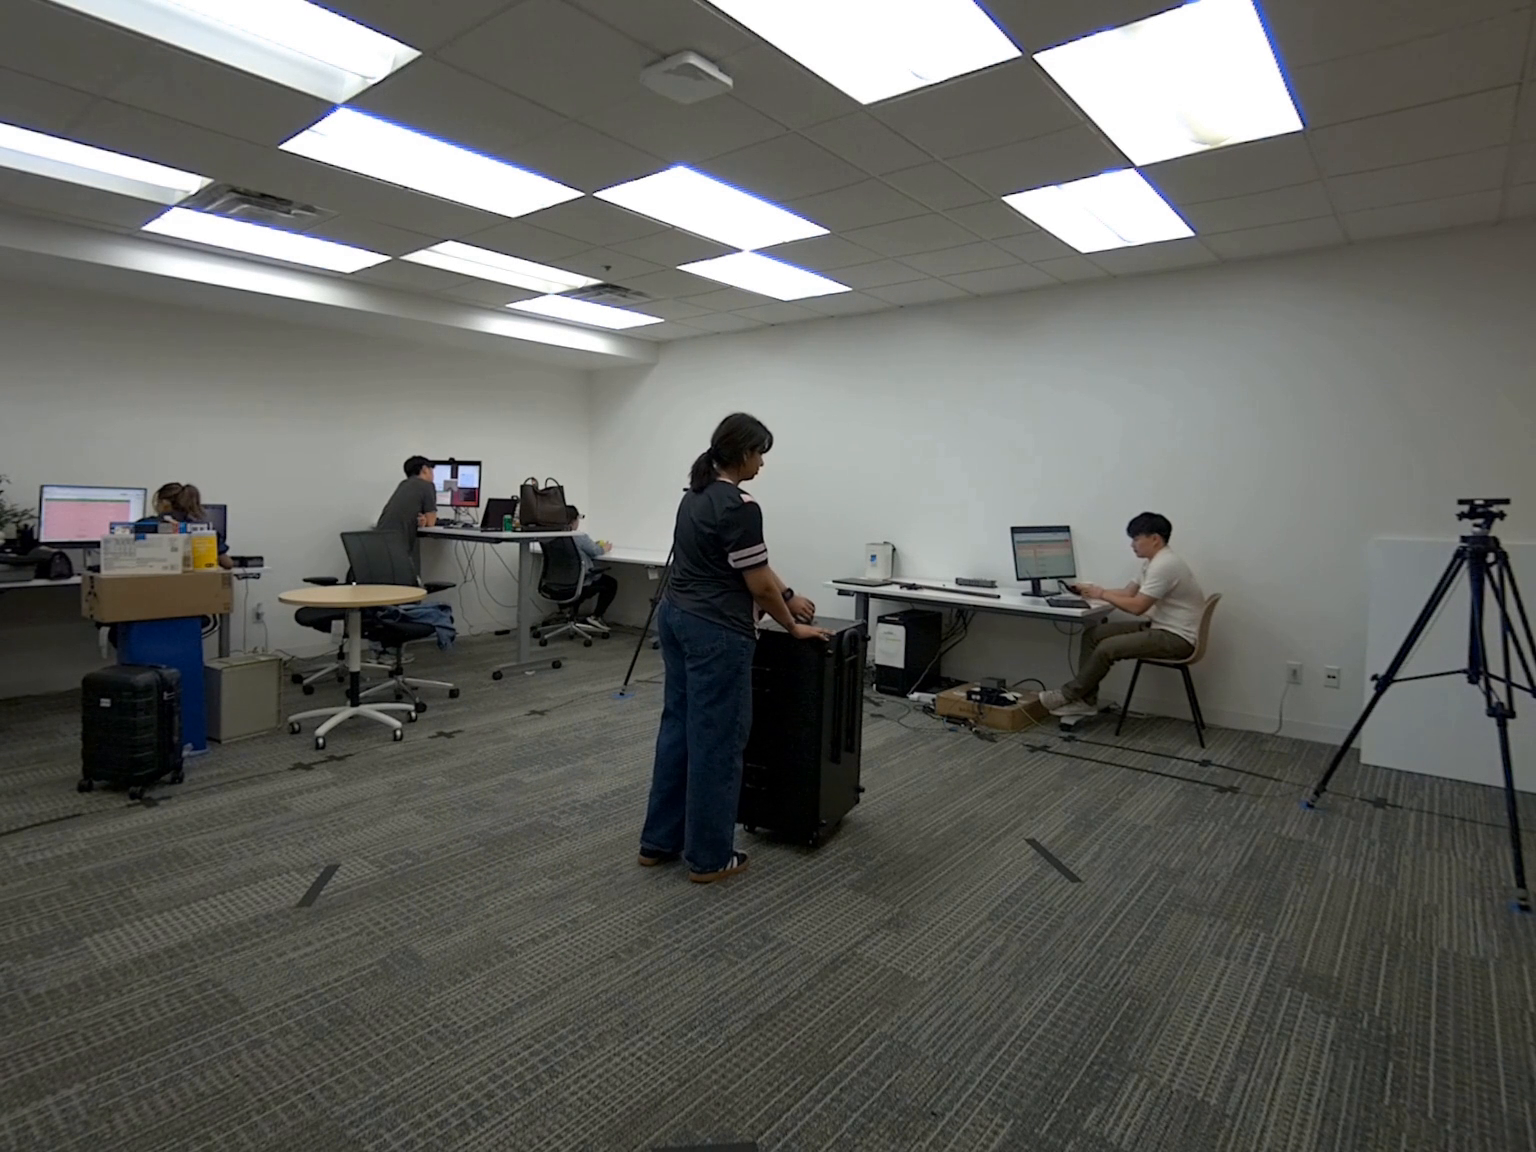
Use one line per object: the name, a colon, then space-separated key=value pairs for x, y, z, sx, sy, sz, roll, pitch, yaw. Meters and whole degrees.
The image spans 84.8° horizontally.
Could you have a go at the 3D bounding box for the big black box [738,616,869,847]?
big black box: x=0.144 y=0.617 z=3.486 sx=0.395 sy=0.865 sz=0.512 roll=4 pitch=5 yaw=24
